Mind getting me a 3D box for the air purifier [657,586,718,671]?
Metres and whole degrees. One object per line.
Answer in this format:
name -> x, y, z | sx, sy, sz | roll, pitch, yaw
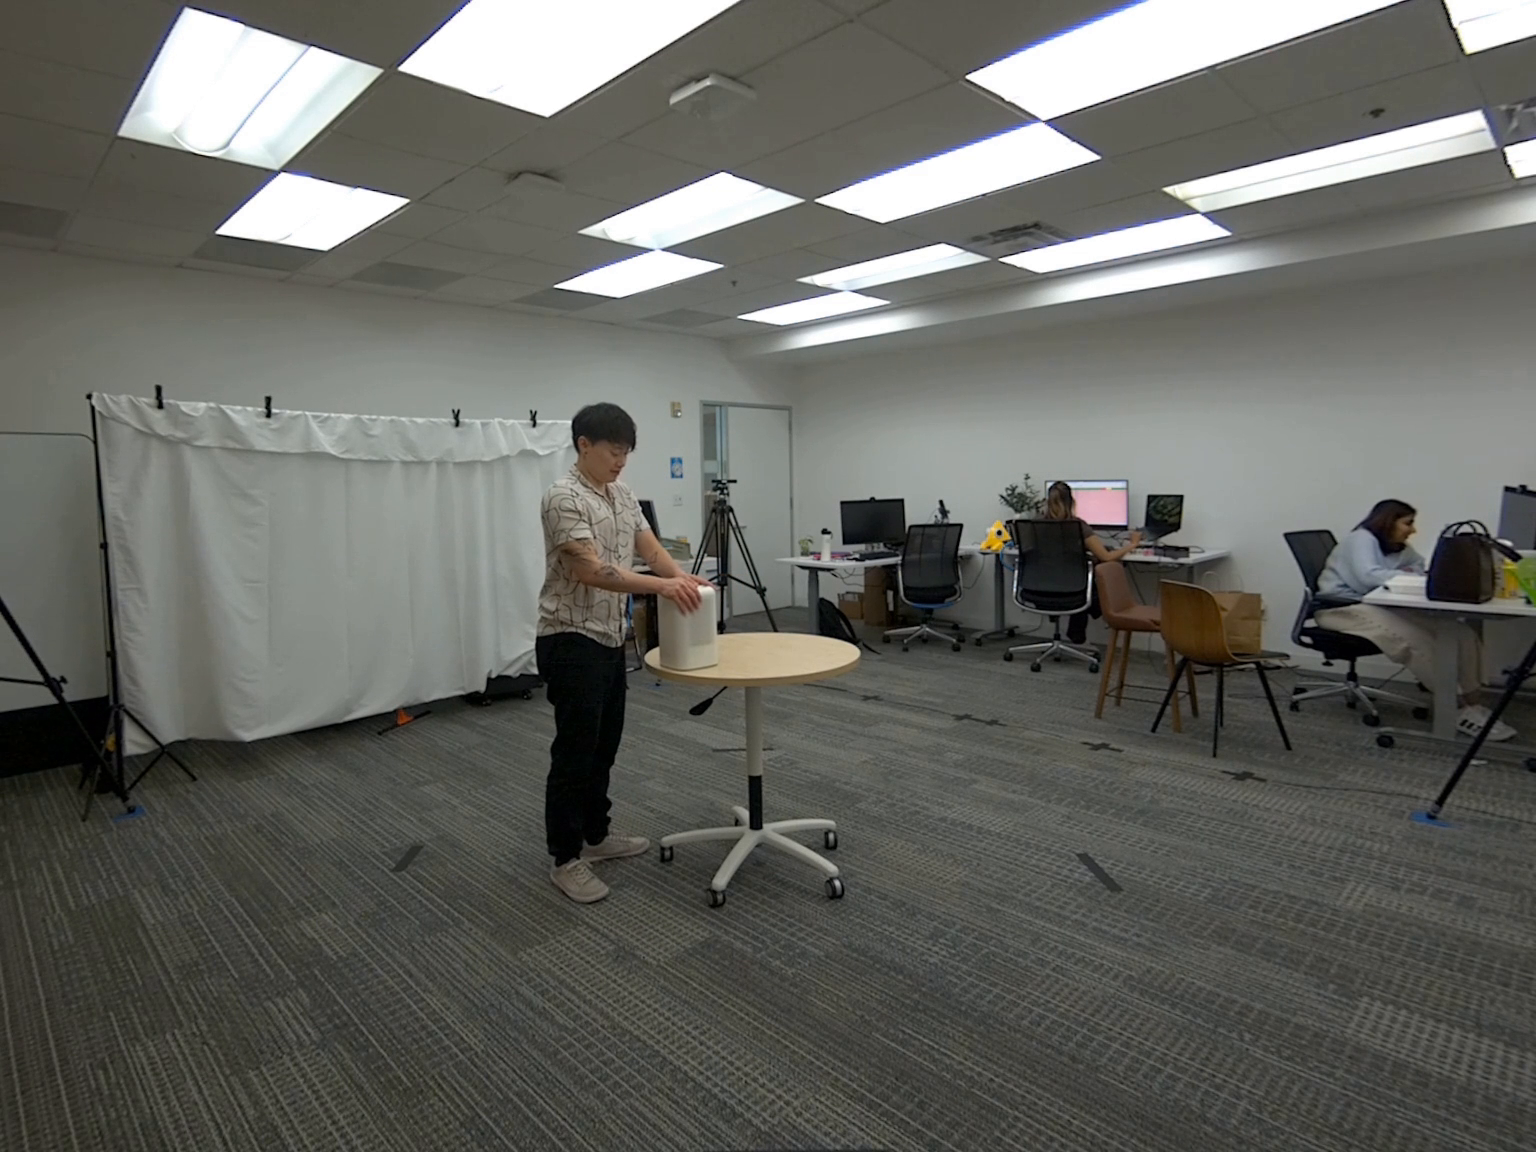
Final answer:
air purifier -> -0.272, 0.164, 2.884 | 0.167, 0.264, 0.176 | -6, 6, -35
